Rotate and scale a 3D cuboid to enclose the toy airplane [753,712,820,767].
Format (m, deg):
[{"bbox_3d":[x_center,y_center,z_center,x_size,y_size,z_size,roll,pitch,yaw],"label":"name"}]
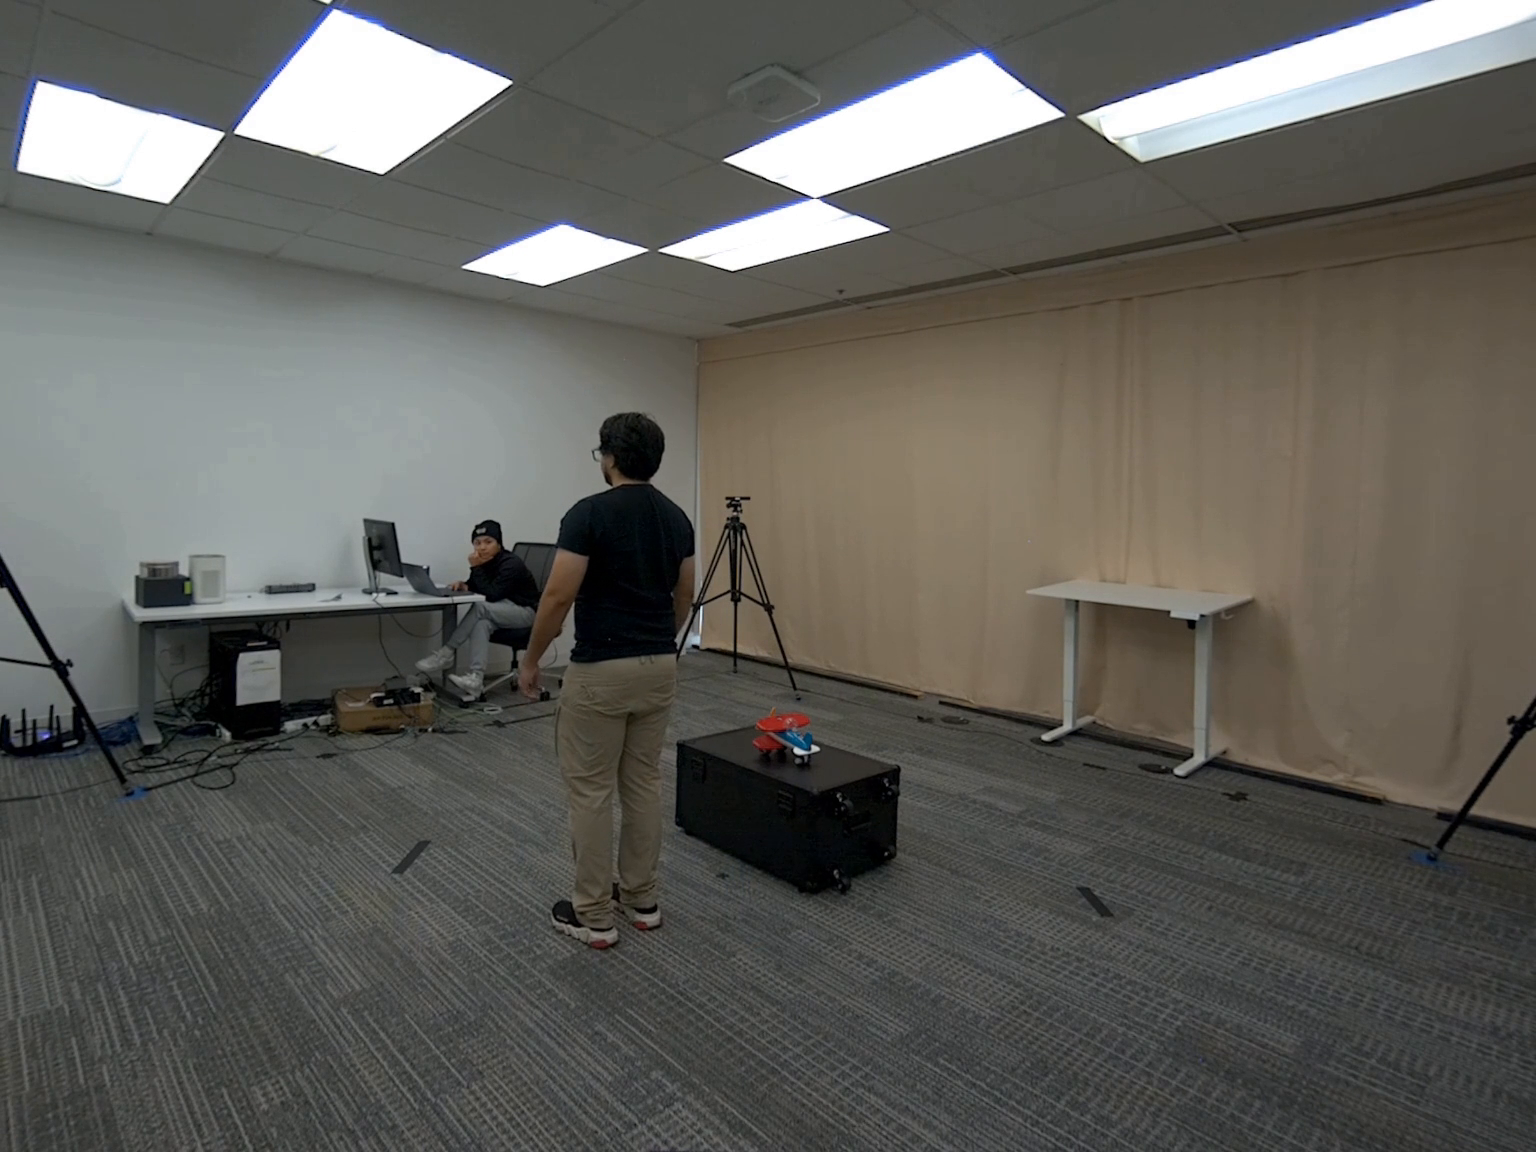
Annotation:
[{"bbox_3d":[0.079,0.641,3.325,0.264,0.156,0.247,2,4,22],"label":"toy airplane"}]
